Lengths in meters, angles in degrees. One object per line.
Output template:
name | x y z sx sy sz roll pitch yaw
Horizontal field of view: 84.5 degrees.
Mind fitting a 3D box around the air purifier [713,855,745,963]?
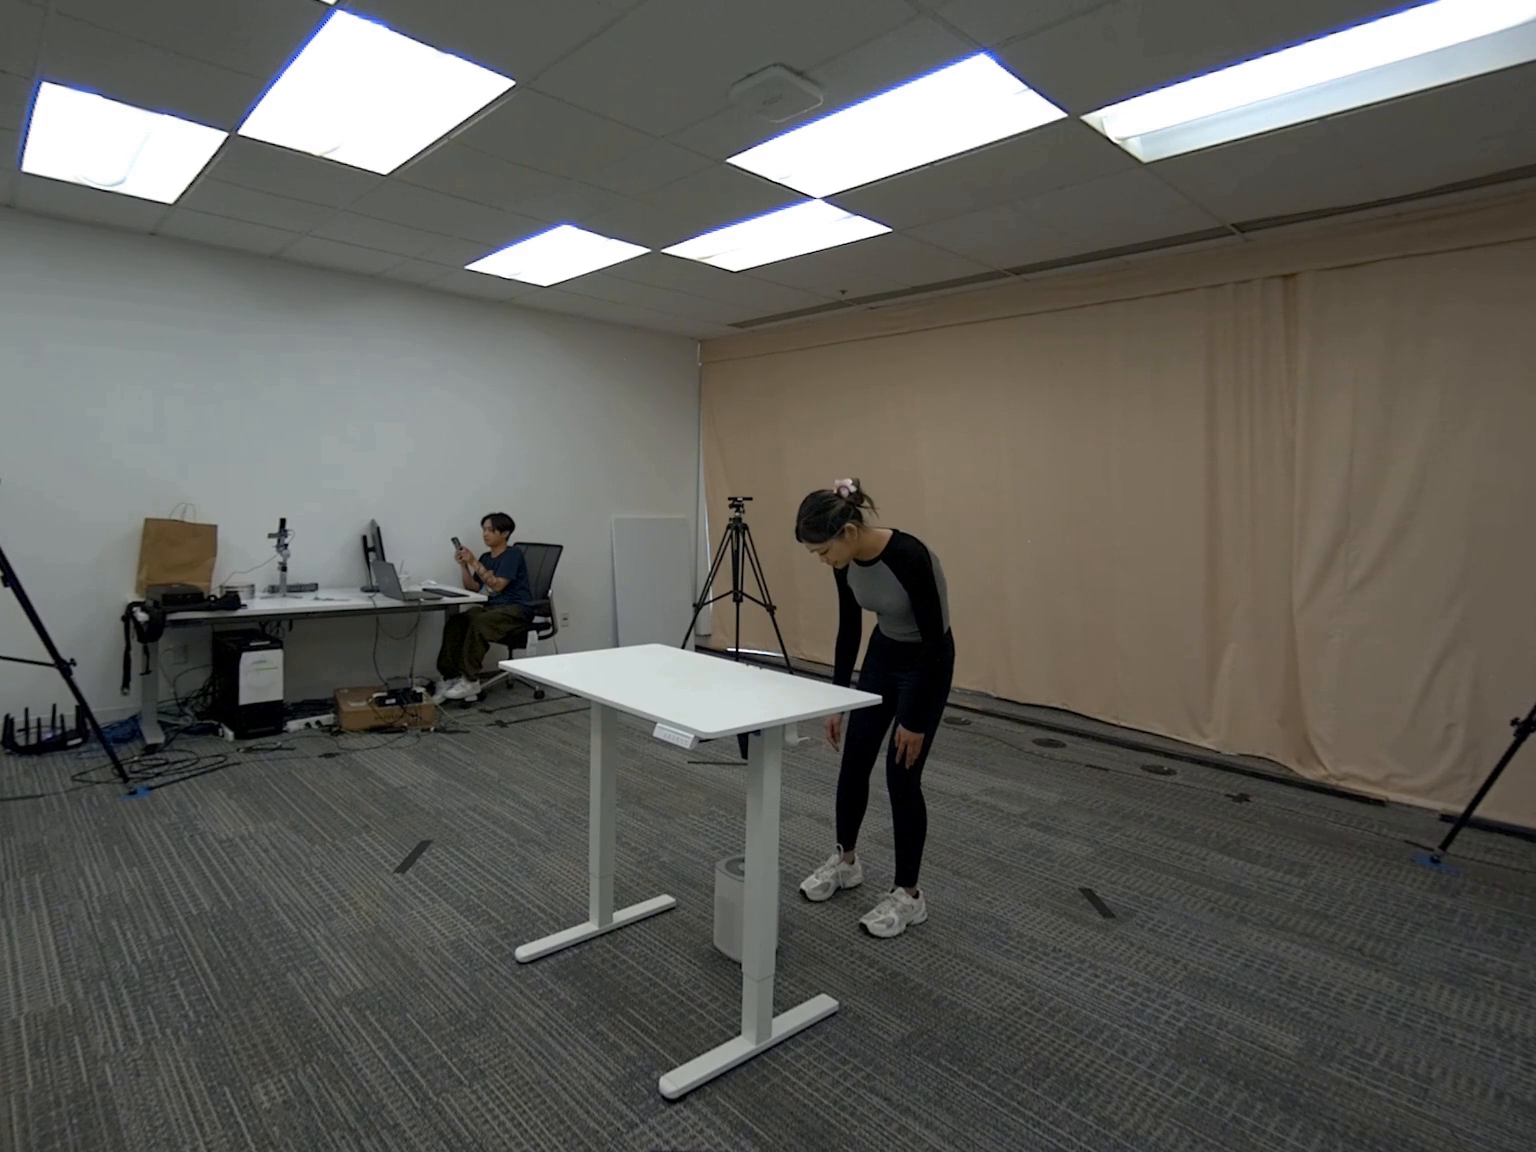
air purifier | -0.061 1.023 2.584 0.167 0.265 0.176 -2 5 -44
